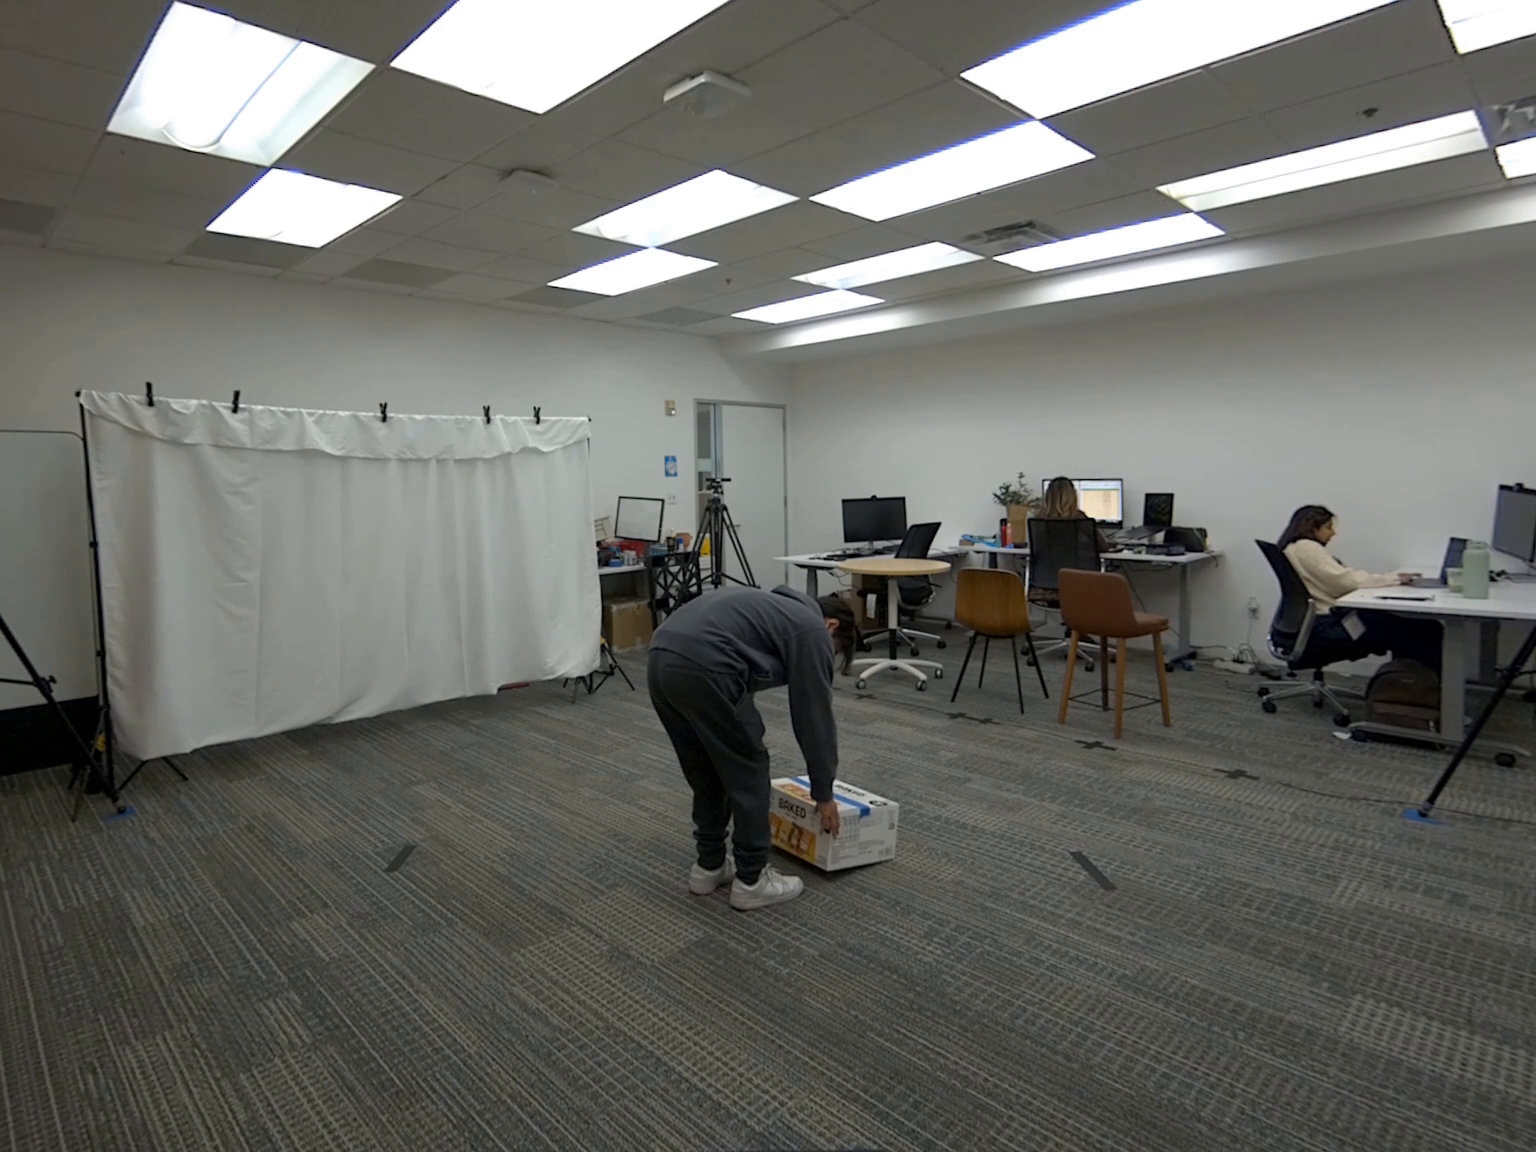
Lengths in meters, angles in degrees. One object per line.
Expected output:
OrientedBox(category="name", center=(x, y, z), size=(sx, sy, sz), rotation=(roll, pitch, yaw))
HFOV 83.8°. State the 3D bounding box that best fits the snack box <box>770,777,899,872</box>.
OrientedBox(category="snack box", center=(0.215, 0.907, 3.180), size=(0.330, 0.206, 0.417), rotation=(5, 1, -38))
